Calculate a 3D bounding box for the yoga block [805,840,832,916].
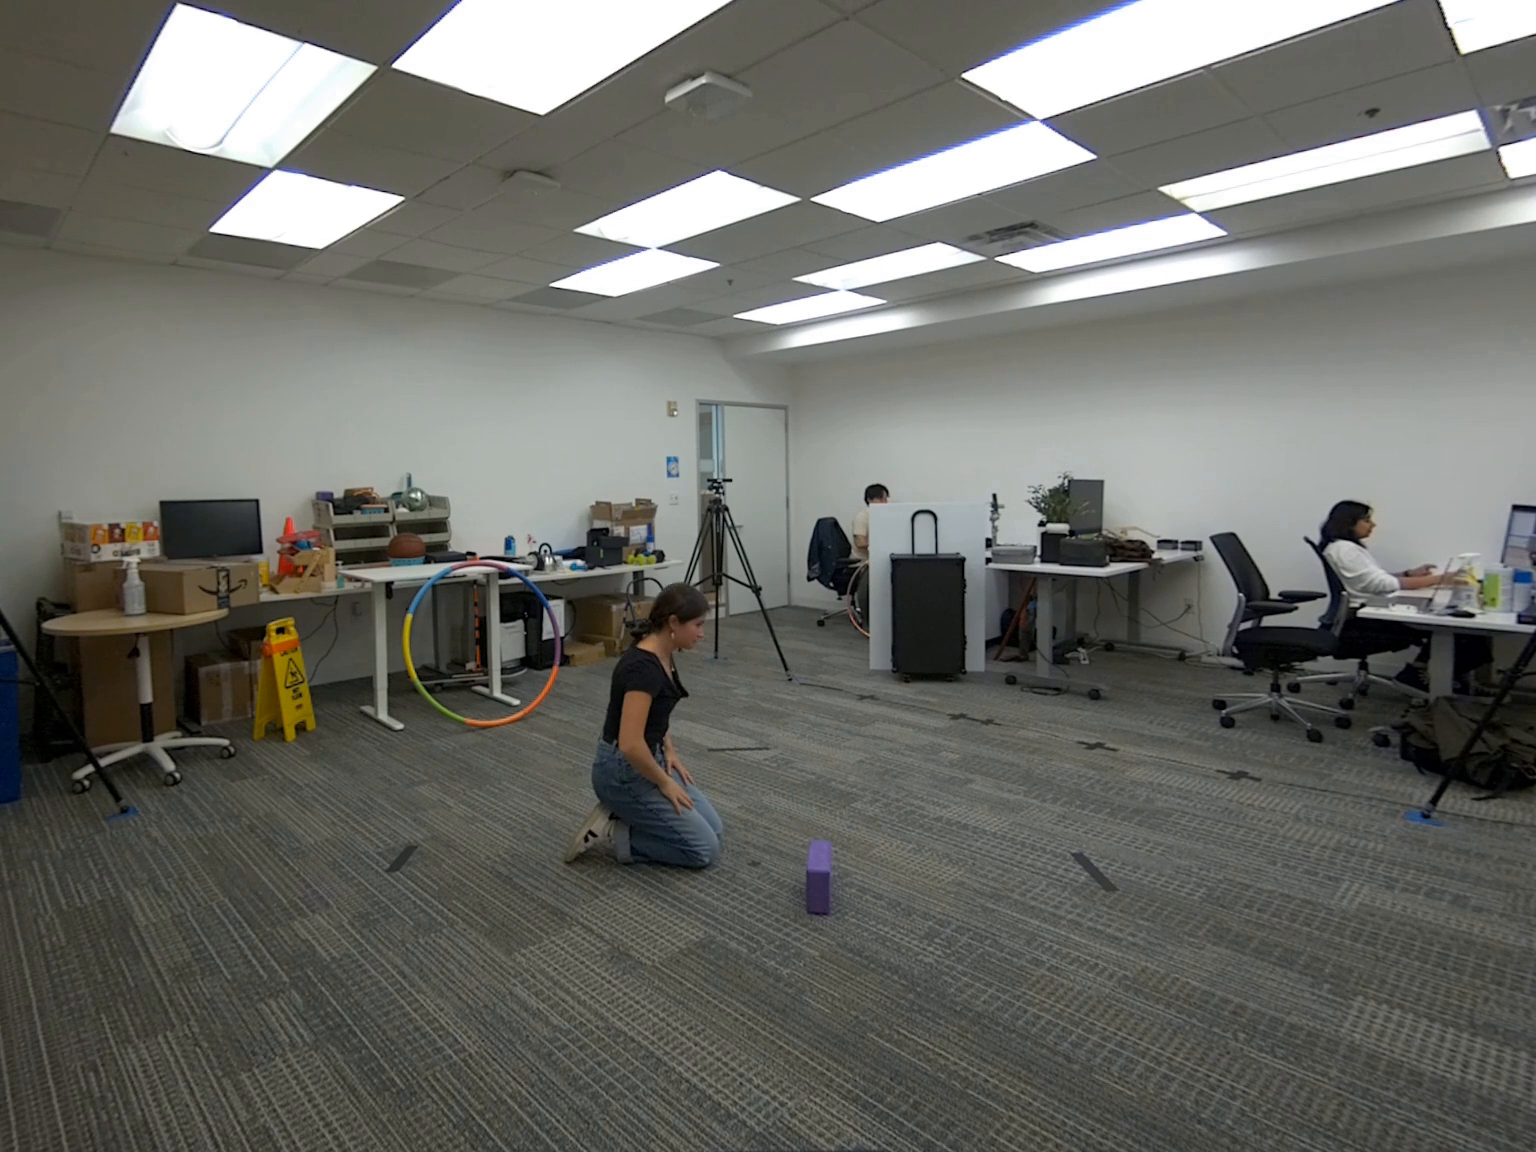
[{"bbox_3d":[0.174,0.995,2.844,0.077,0.148,0.229,-1,5,5],"label":"yoga block"}]
